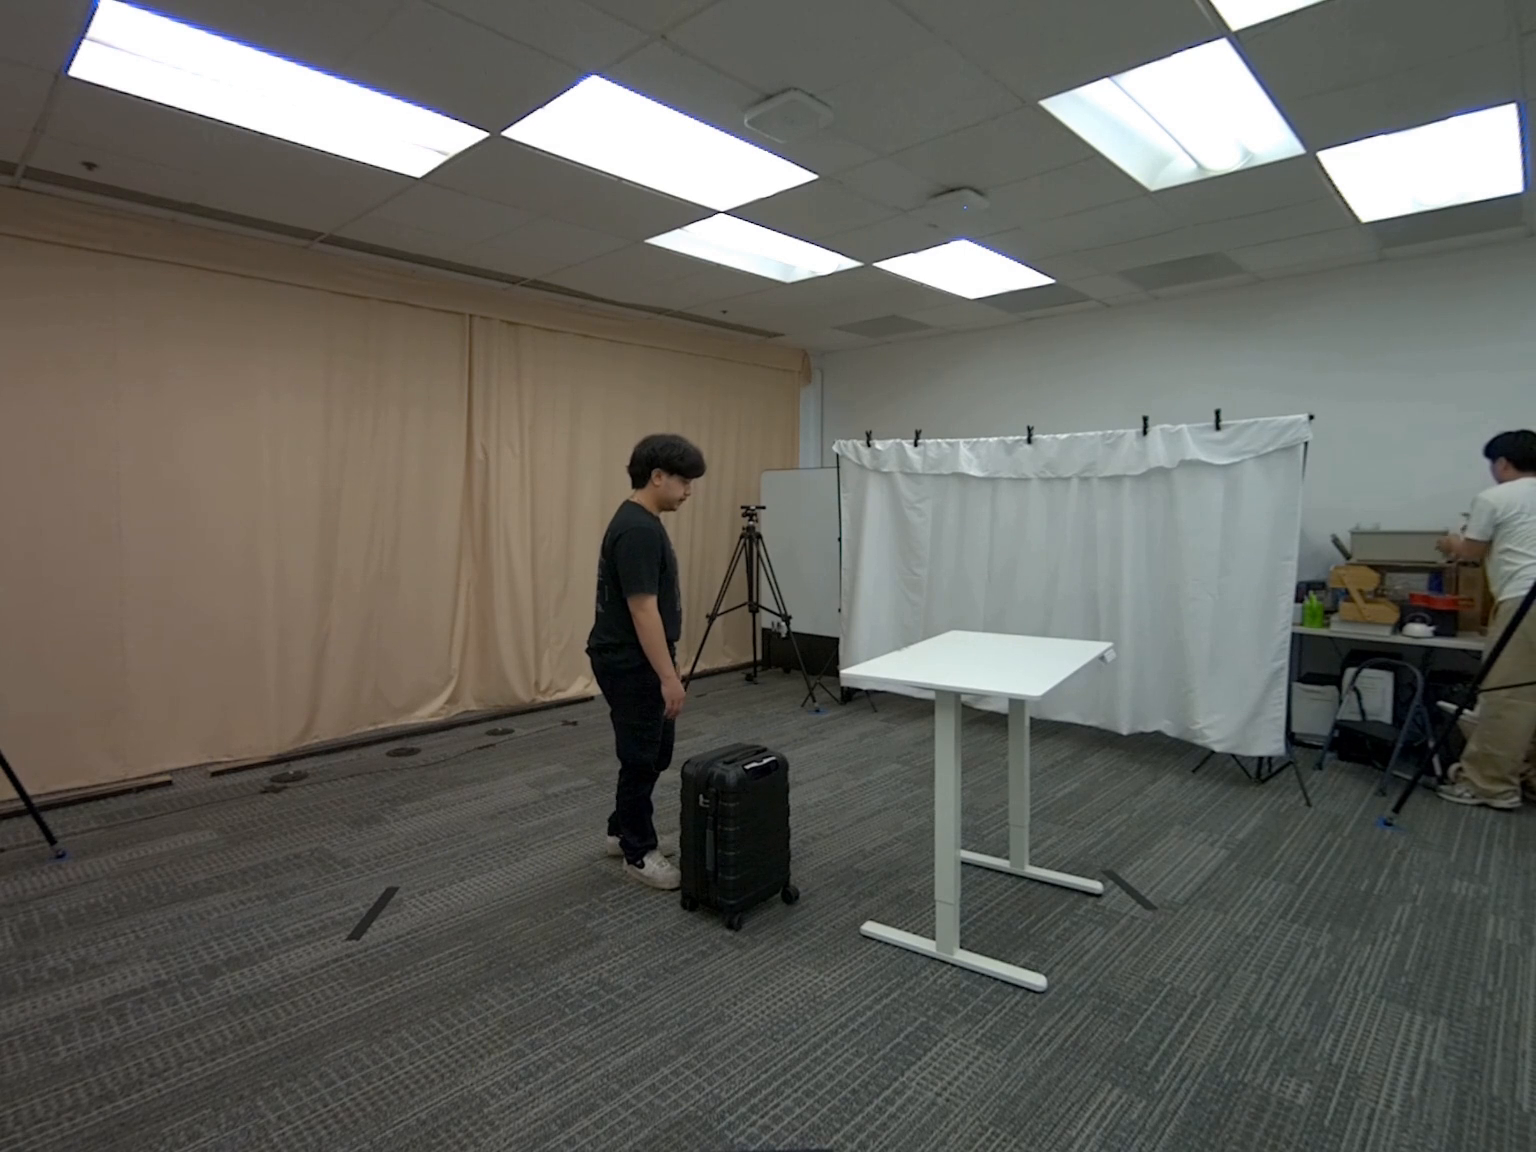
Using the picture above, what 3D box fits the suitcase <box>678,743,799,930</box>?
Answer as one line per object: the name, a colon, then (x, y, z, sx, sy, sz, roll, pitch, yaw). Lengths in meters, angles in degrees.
suitcase: (-0.108, 0.877, 2.916, 0.256, 0.548, 0.364, 3, 5, 41)
